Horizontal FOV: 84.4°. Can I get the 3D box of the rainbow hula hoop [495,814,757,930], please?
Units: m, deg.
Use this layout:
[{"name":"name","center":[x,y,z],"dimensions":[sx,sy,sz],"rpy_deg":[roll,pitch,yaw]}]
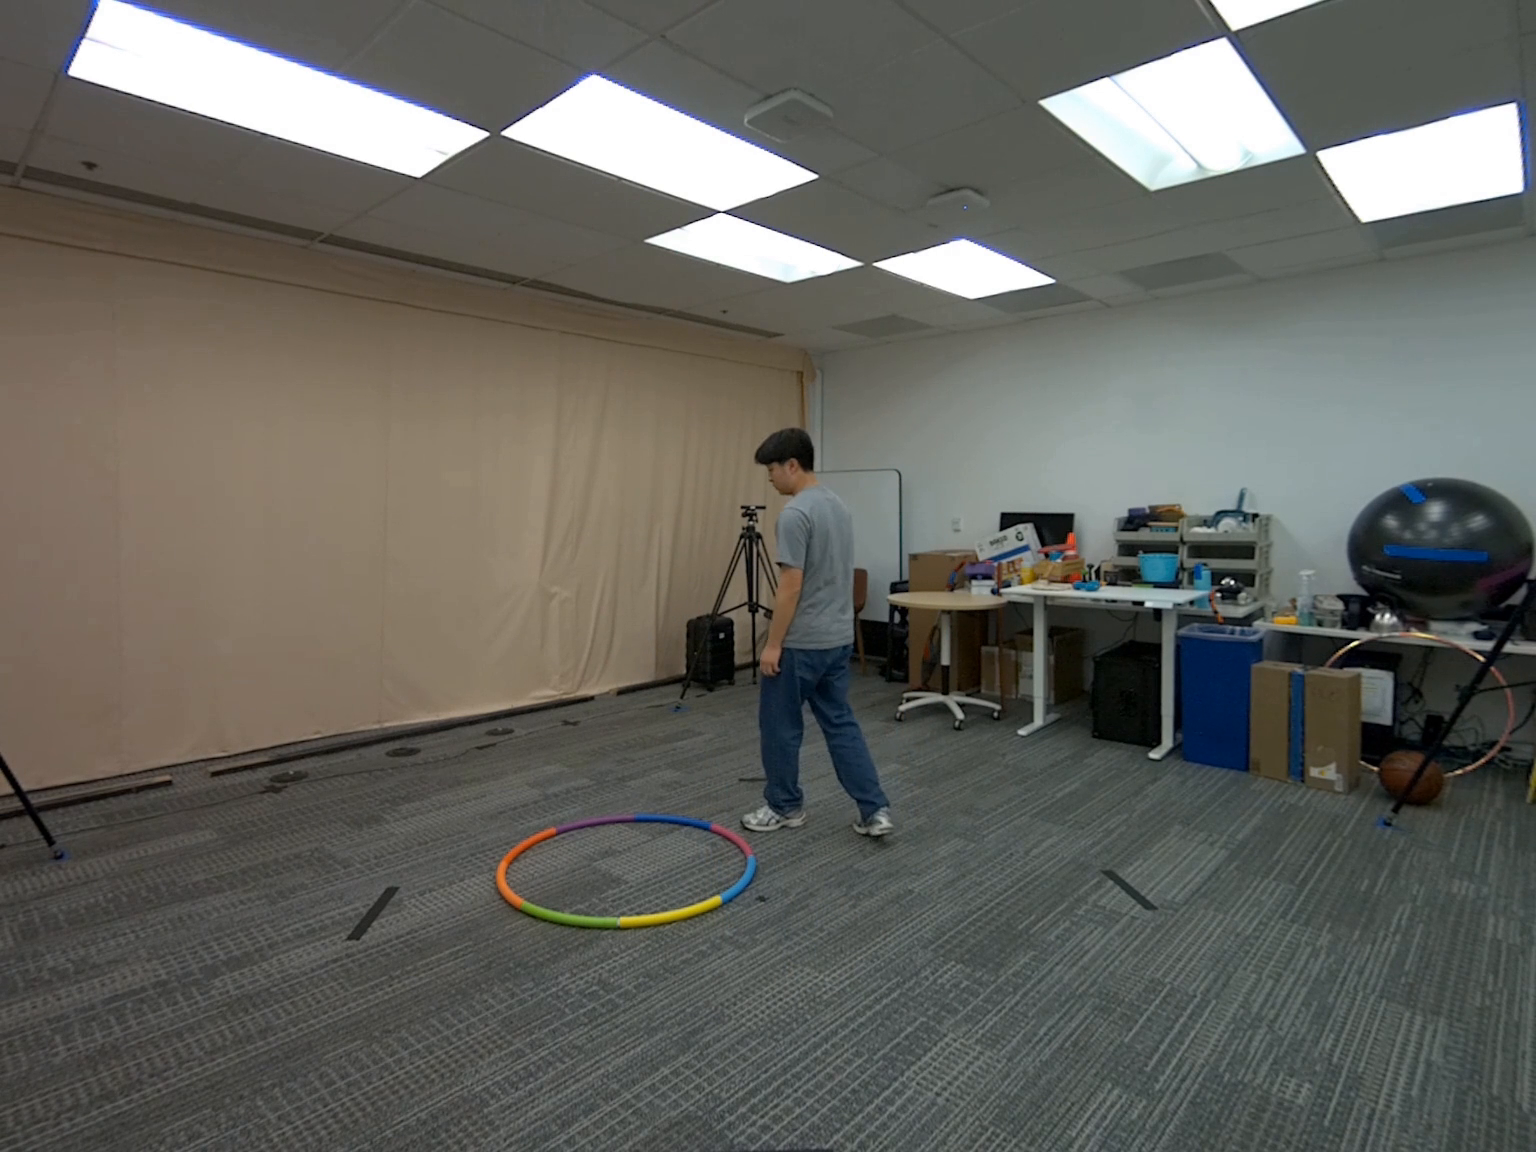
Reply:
[{"name":"rainbow hula hoop","center":[-0.538,1.098,3.255],"dimensions":[0.978,0.035,0.982],"rpy_deg":[-1,5,-2]}]
